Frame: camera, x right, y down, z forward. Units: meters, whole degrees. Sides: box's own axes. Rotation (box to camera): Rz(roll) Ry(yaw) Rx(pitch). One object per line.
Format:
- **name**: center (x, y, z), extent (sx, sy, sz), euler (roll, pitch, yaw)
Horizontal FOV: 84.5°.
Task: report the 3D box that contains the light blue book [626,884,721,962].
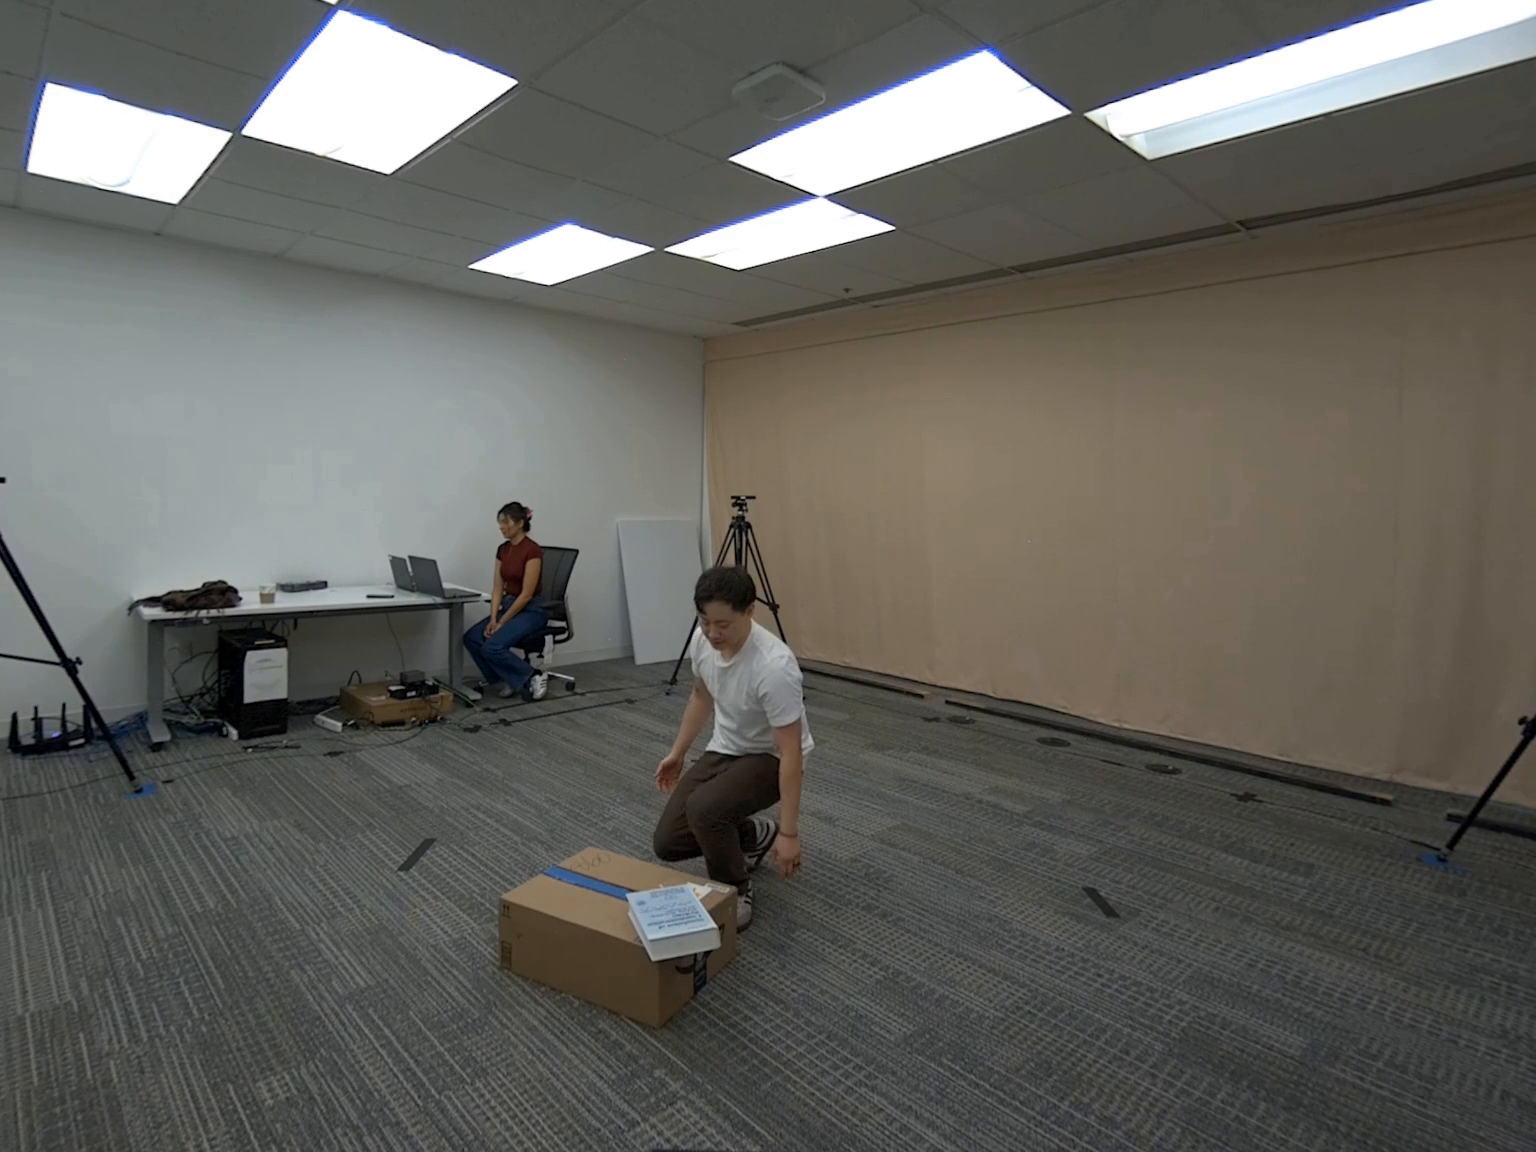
- **light blue book**: center (-0.276, 0.932, 2.271), extent (0.188, 0.059, 0.266), euler (-2, 6, -21)
